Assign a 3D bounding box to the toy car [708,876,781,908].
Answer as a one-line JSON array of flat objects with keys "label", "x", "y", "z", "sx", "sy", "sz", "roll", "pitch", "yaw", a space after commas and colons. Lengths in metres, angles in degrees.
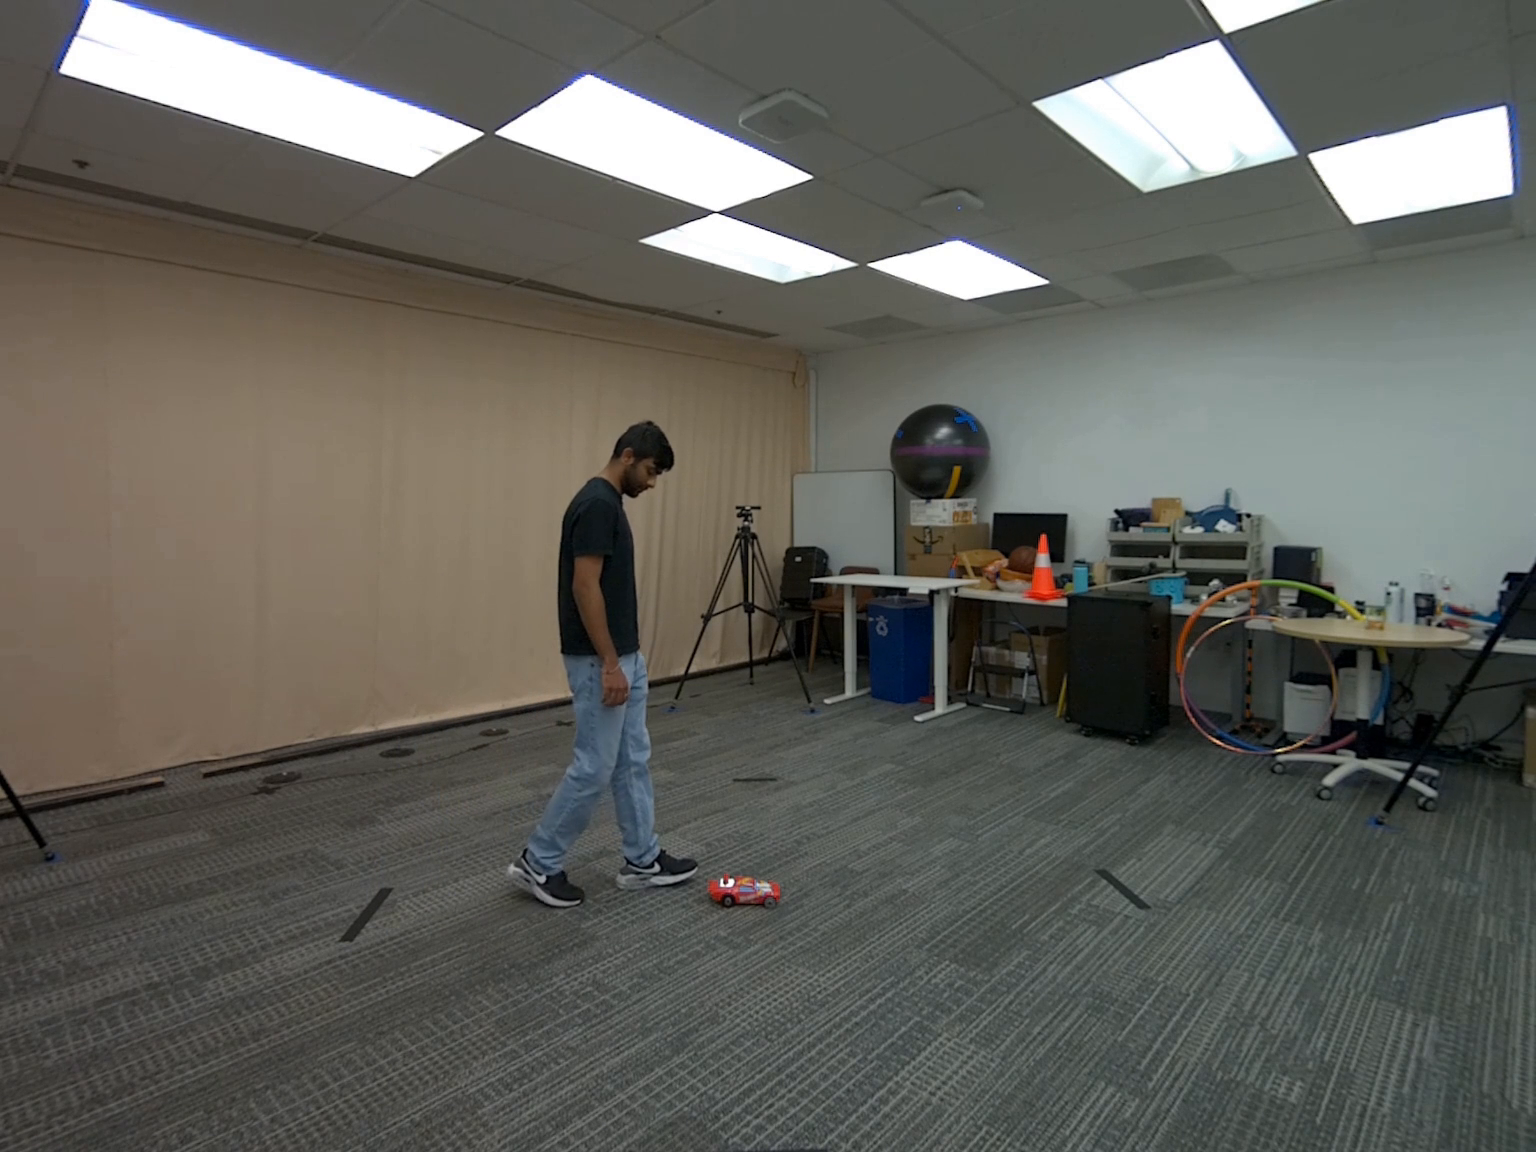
[{"label": "toy car", "x": -0.086, "y": 1.116, "z": 2.961, "sx": 0.255, "sy": 0.083, "sz": 0.130, "roll": 11, "pitch": 4, "yaw": 1}]
